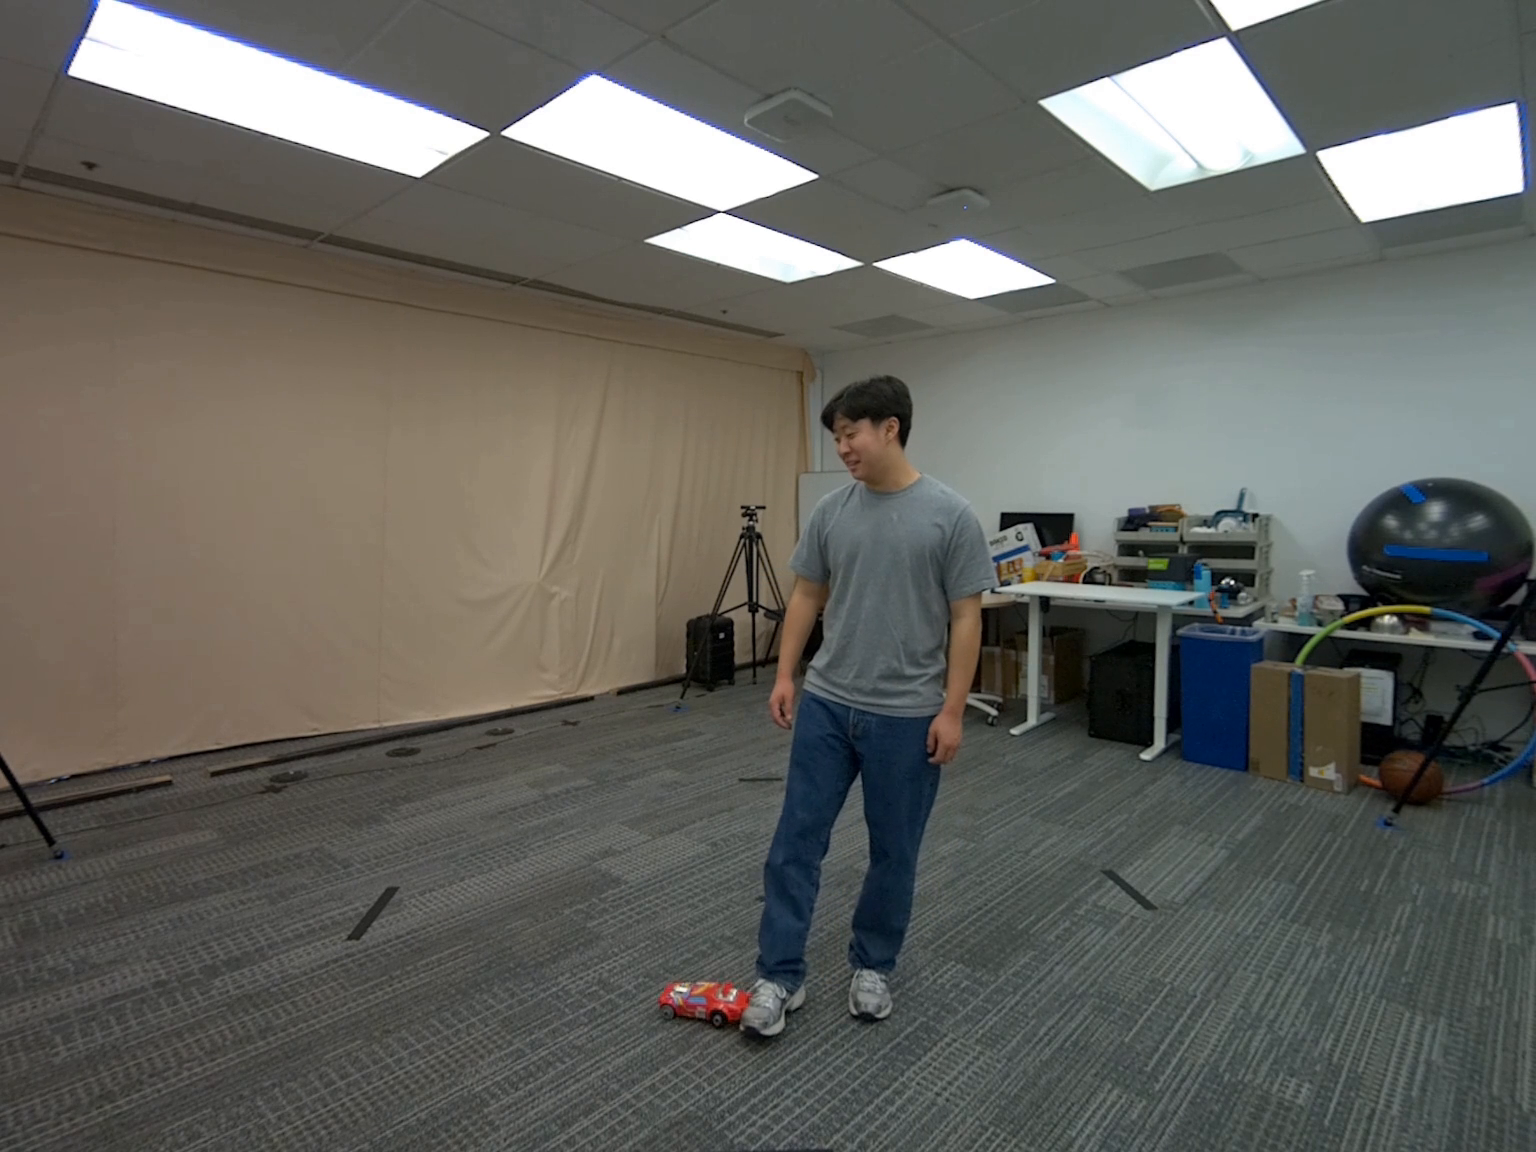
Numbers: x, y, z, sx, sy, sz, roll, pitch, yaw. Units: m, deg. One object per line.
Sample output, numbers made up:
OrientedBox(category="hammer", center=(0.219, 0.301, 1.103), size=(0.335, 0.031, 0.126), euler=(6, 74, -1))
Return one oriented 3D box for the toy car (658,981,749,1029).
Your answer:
OrientedBox(category="toy car", center=(-0.160, 1.174, 2.295), size=(0.259, 0.083, 0.128), euler=(-12, 0, 18))
